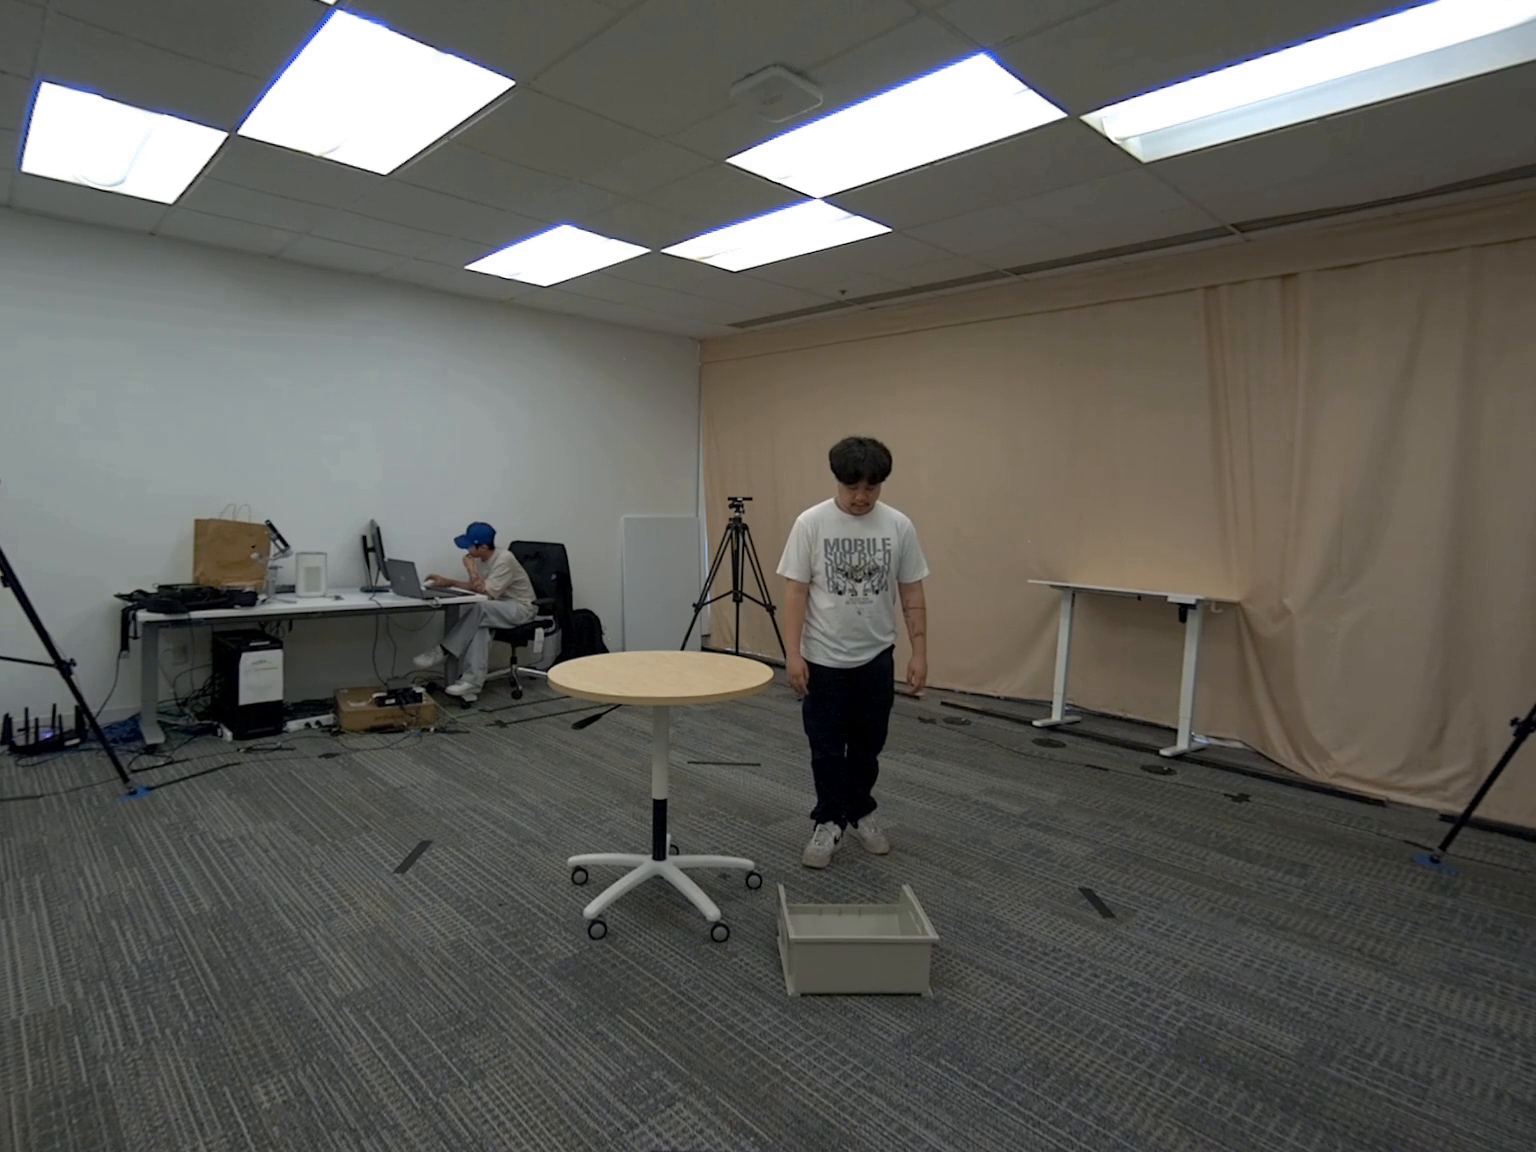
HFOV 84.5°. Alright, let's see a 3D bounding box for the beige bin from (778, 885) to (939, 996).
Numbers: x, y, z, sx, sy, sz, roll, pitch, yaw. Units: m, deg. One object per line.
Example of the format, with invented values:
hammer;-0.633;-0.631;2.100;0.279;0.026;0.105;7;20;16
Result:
beige bin;0.242;1.084;2.533;0.421;0.188;0.380;2;5;-5
